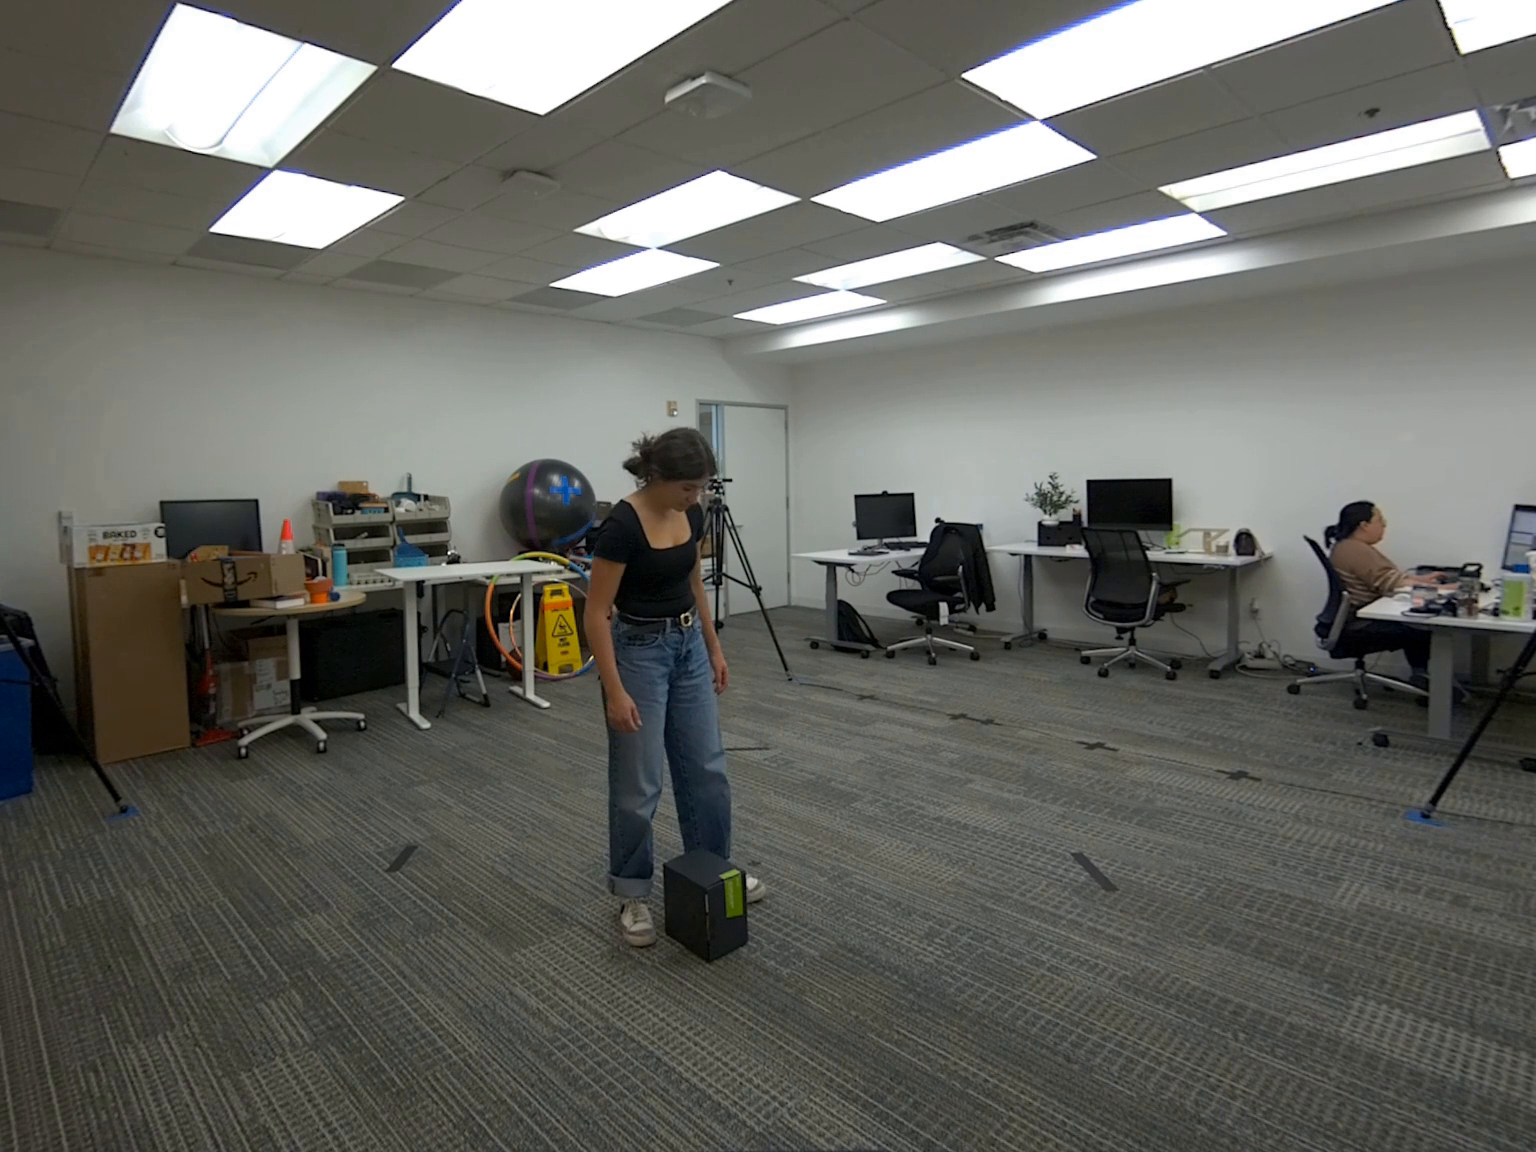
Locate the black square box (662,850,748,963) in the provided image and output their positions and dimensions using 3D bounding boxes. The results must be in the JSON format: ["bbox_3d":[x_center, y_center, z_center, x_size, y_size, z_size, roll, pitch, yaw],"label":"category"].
[{"bbox_3d":[-0.192,0.989,2.591,0.152,0.227,0.224,-6,9,-42],"label":"black square box"}]
